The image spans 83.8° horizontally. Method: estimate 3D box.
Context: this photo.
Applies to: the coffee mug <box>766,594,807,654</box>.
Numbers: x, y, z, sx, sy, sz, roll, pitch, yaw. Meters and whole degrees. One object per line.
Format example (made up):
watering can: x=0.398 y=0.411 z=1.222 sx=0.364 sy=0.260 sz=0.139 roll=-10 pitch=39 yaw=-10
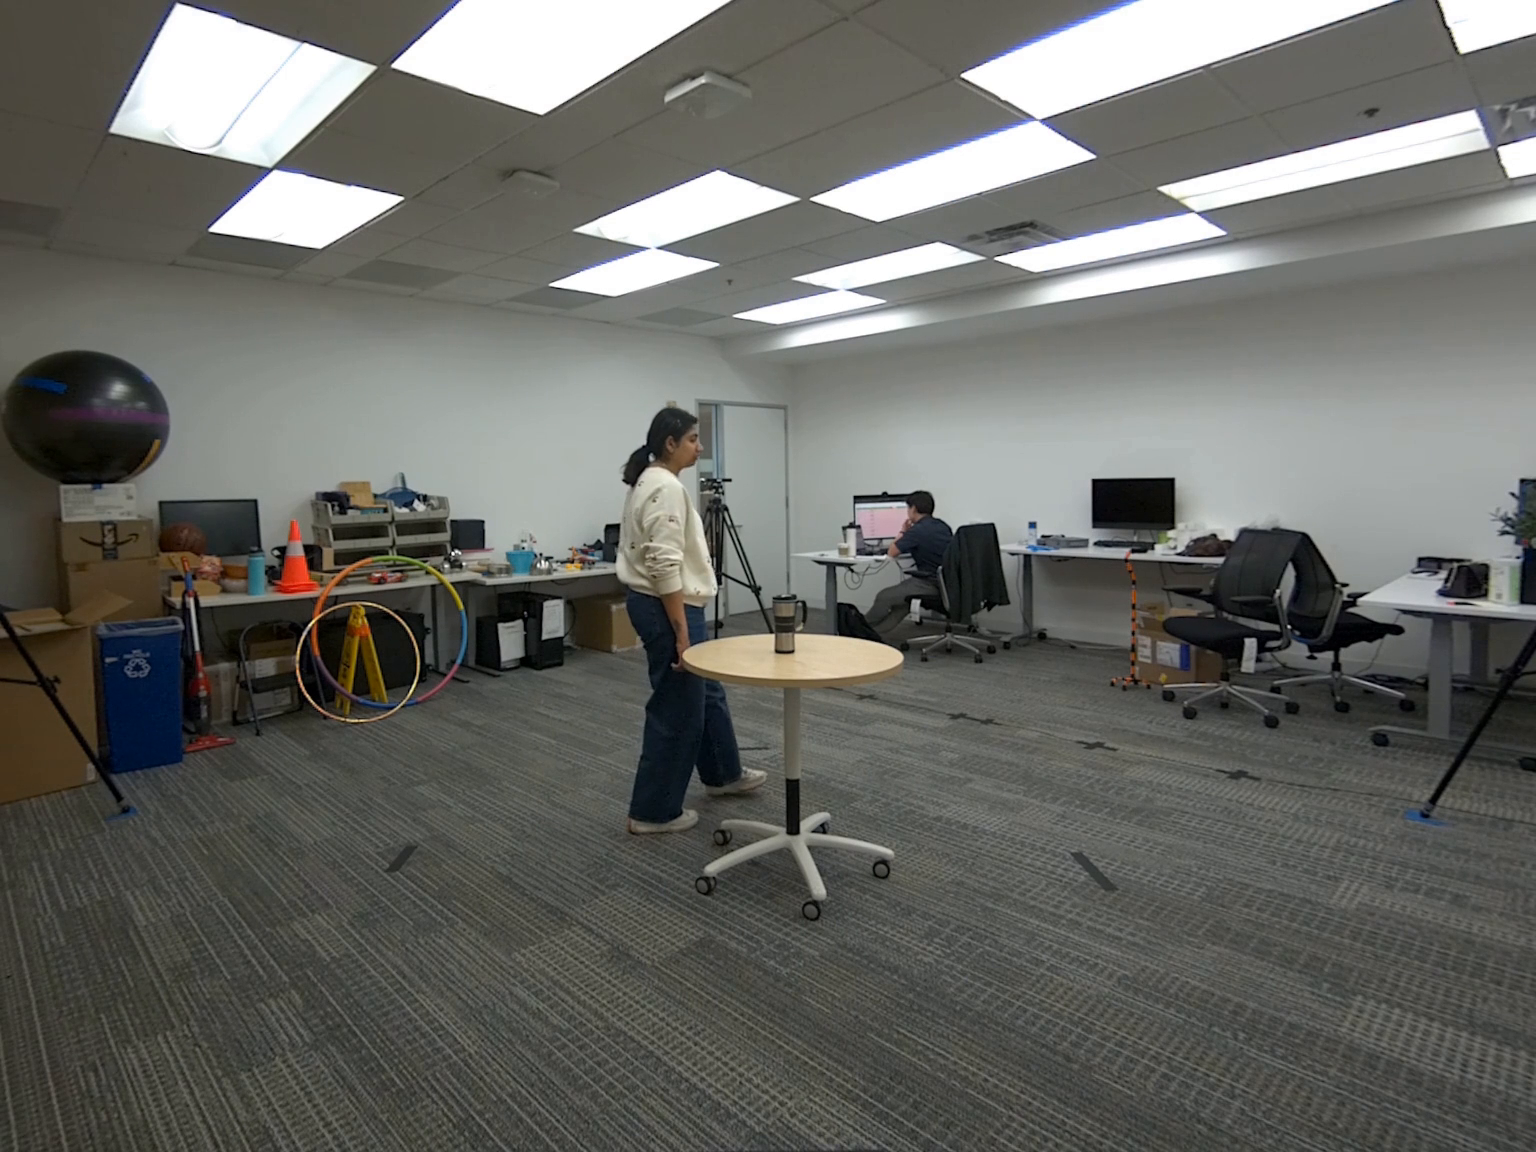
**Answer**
coffee mug: x=0.078 y=0.172 z=2.995 sx=0.125 sy=0.203 sz=0.085 roll=-2 pitch=0 yaw=37
